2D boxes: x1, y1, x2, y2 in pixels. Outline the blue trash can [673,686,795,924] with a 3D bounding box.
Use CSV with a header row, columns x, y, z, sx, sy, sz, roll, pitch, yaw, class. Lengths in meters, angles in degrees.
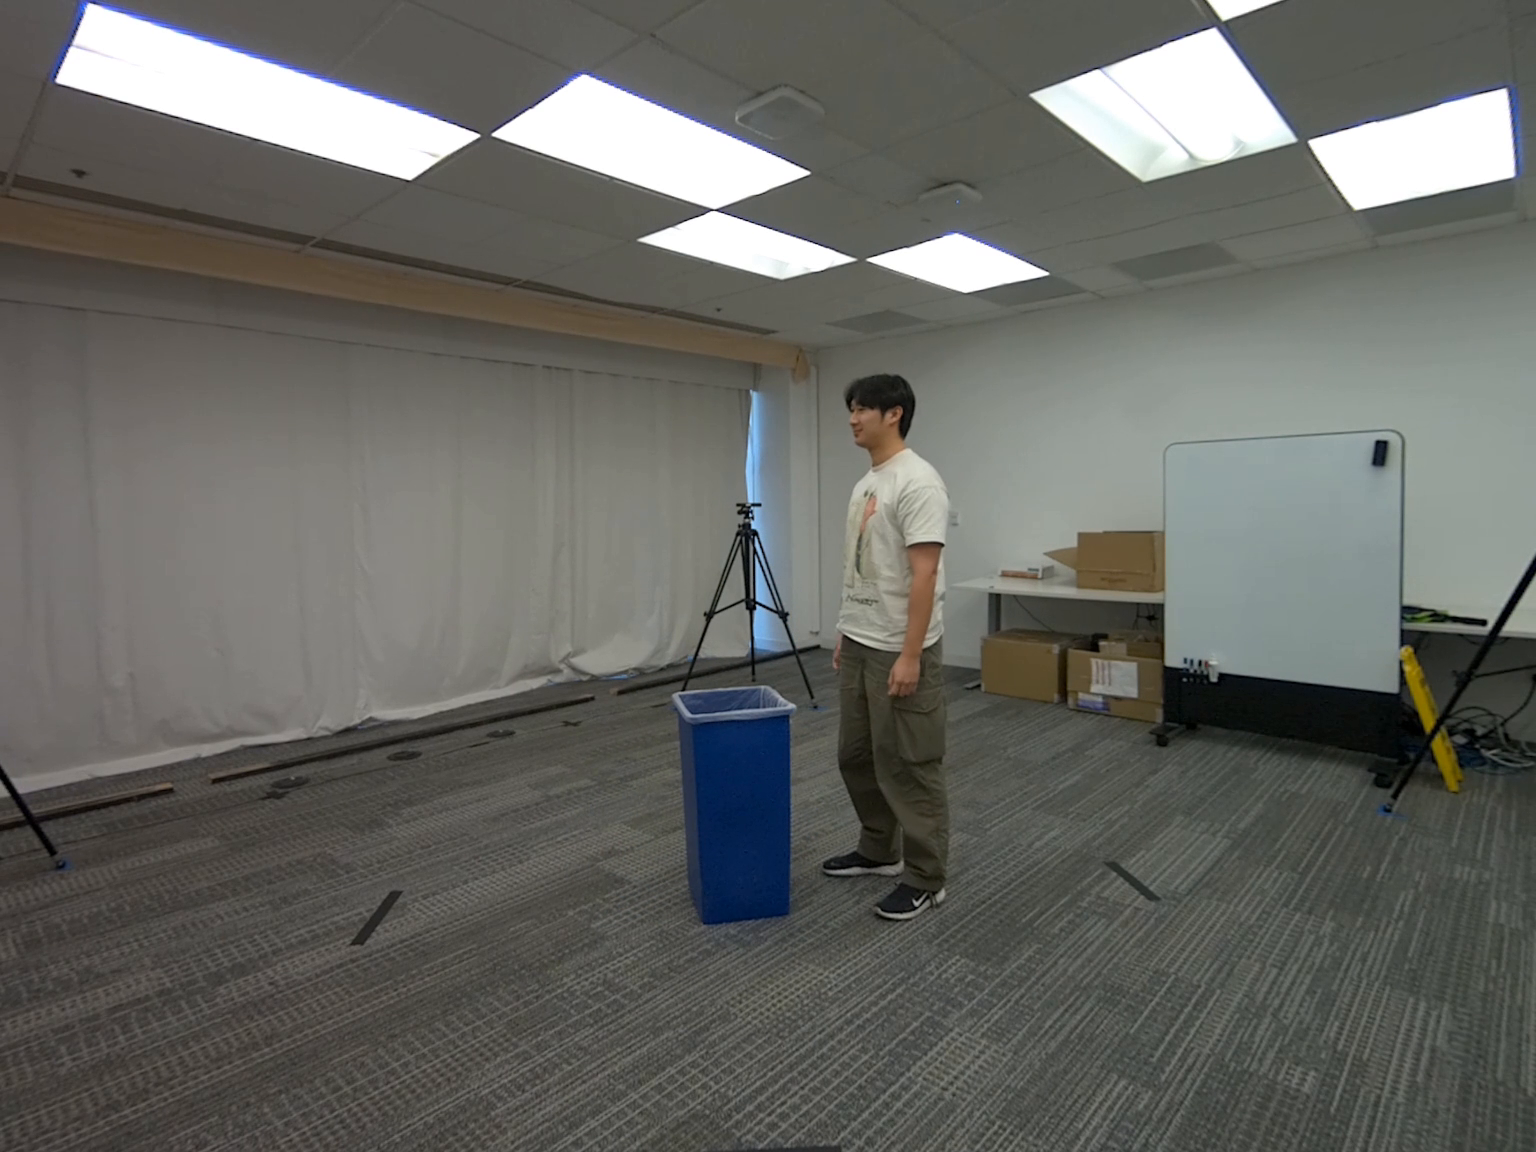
x,y,z,sx,sy,sz,roll,pitch,yaw,class
-0.116,0.786,2.941,0.369,0.712,0.384,-2,3,-13,blue trash can
